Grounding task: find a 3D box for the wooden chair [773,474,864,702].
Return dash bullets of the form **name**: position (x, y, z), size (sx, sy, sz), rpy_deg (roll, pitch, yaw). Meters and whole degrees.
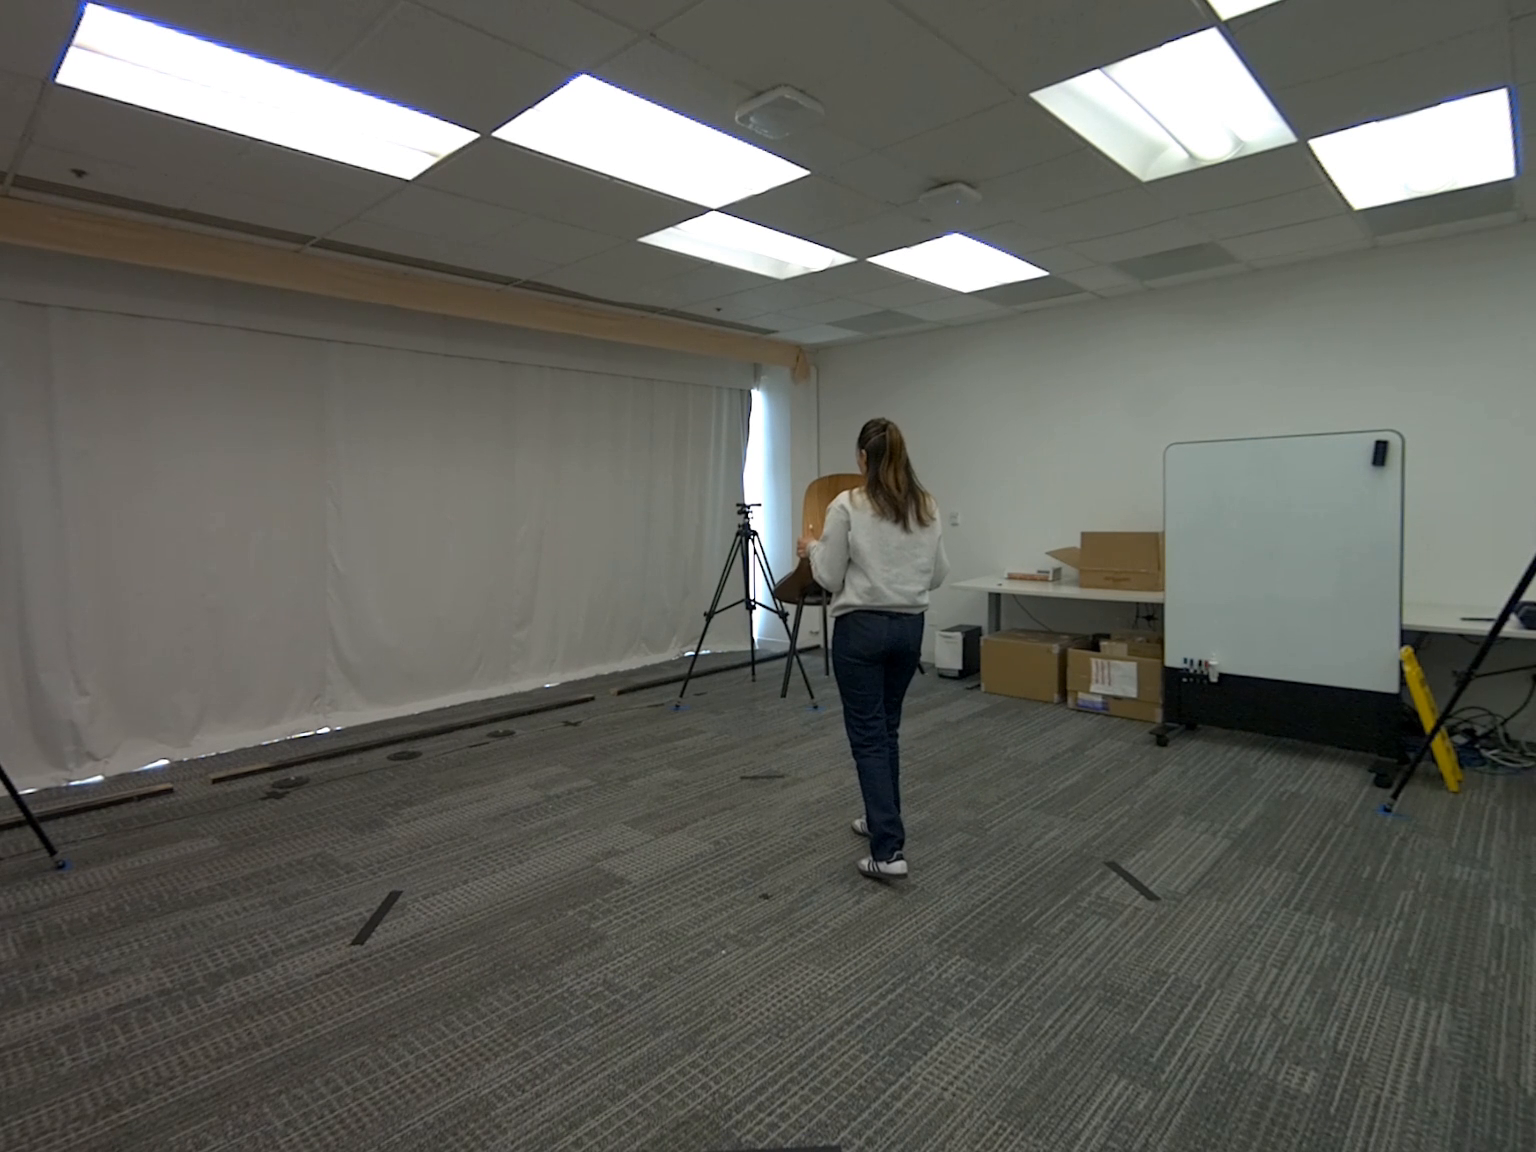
- **wooden chair**: position (0.296, 0.061, 3.631), size (0.468, 0.886, 0.528), rpy_deg (1, -15, -20)
